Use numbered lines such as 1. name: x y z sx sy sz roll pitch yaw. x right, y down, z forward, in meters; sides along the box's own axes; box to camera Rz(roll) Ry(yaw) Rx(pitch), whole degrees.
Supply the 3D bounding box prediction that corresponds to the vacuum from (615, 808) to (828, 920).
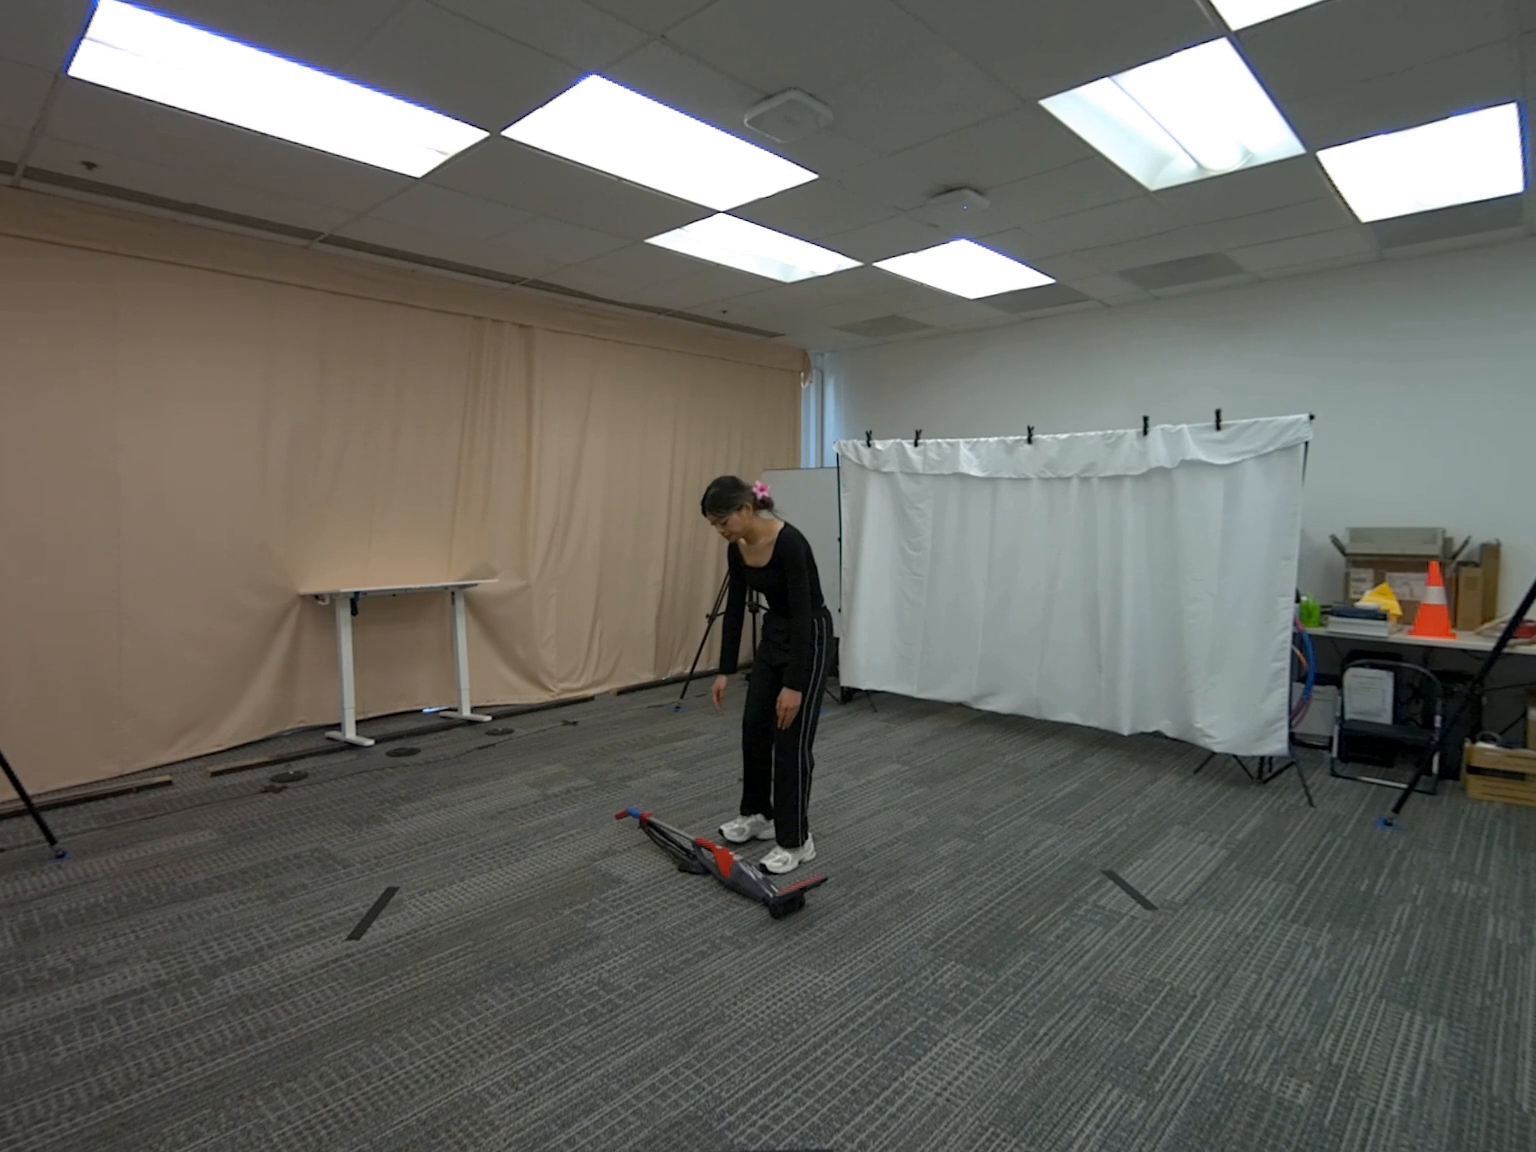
1. vacuum: -0.284 1.068 3.234 0.244 0.144 1.084 -1 3 -43
